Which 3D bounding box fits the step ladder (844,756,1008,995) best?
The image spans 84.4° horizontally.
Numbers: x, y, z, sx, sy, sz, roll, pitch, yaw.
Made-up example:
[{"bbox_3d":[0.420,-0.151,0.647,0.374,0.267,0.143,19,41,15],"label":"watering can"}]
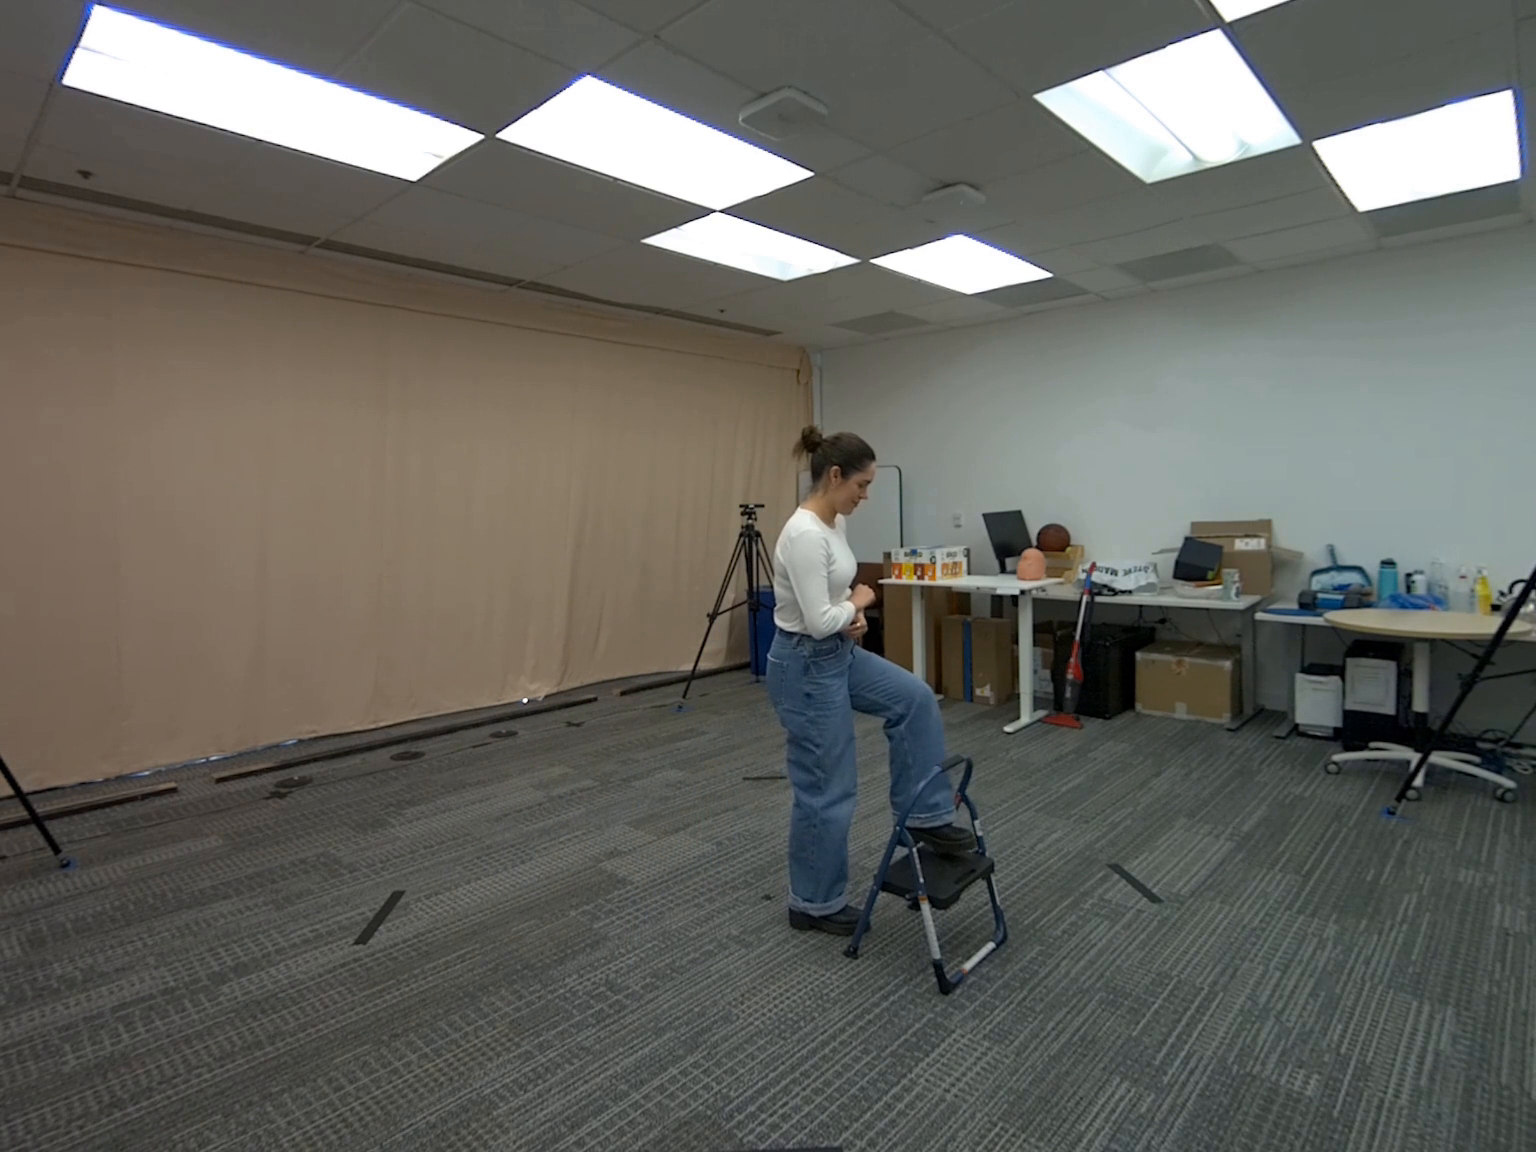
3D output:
[{"bbox_3d":[0.503,0.862,2.611,0.361,0.604,0.418,3,6,40],"label":"step ladder"}]
